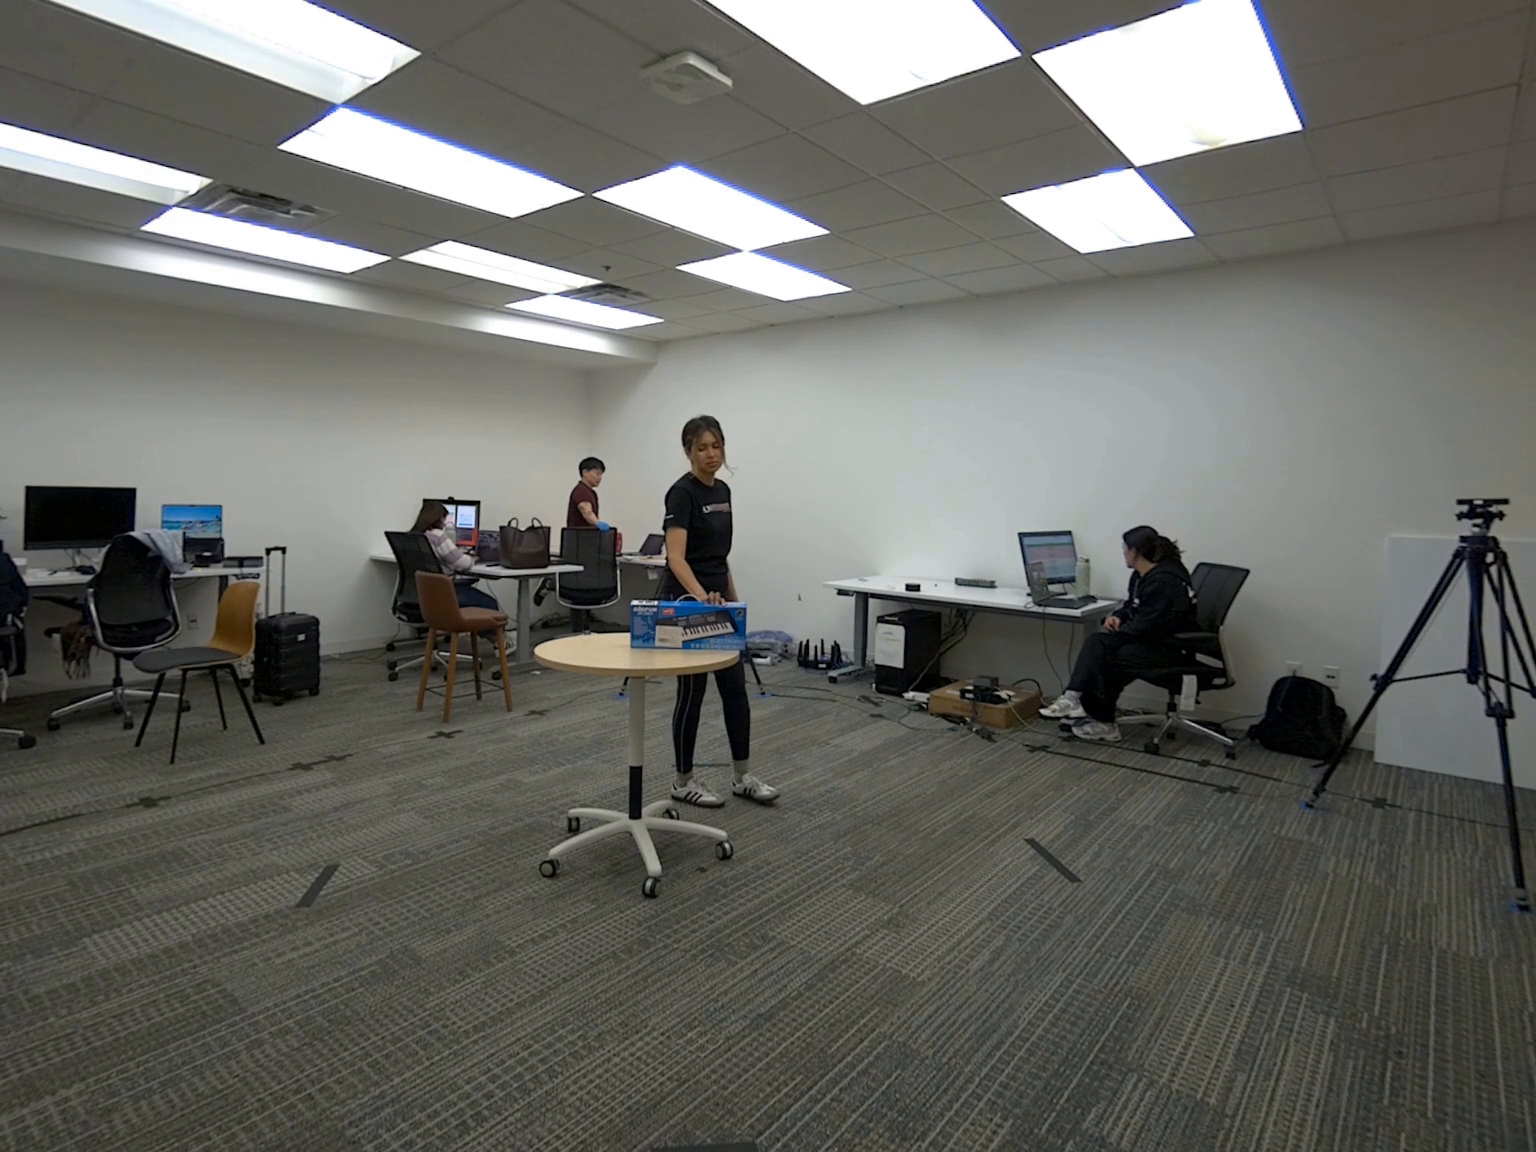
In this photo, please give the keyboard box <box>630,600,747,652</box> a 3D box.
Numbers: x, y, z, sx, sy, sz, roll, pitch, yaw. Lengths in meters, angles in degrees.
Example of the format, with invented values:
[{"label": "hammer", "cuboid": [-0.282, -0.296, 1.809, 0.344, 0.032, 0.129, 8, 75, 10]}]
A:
[{"label": "keyboard box", "cuboid": [-0.315, 0.185, 3.219, 0.436, 0.174, 0.060, 0, 11, -1]}]
